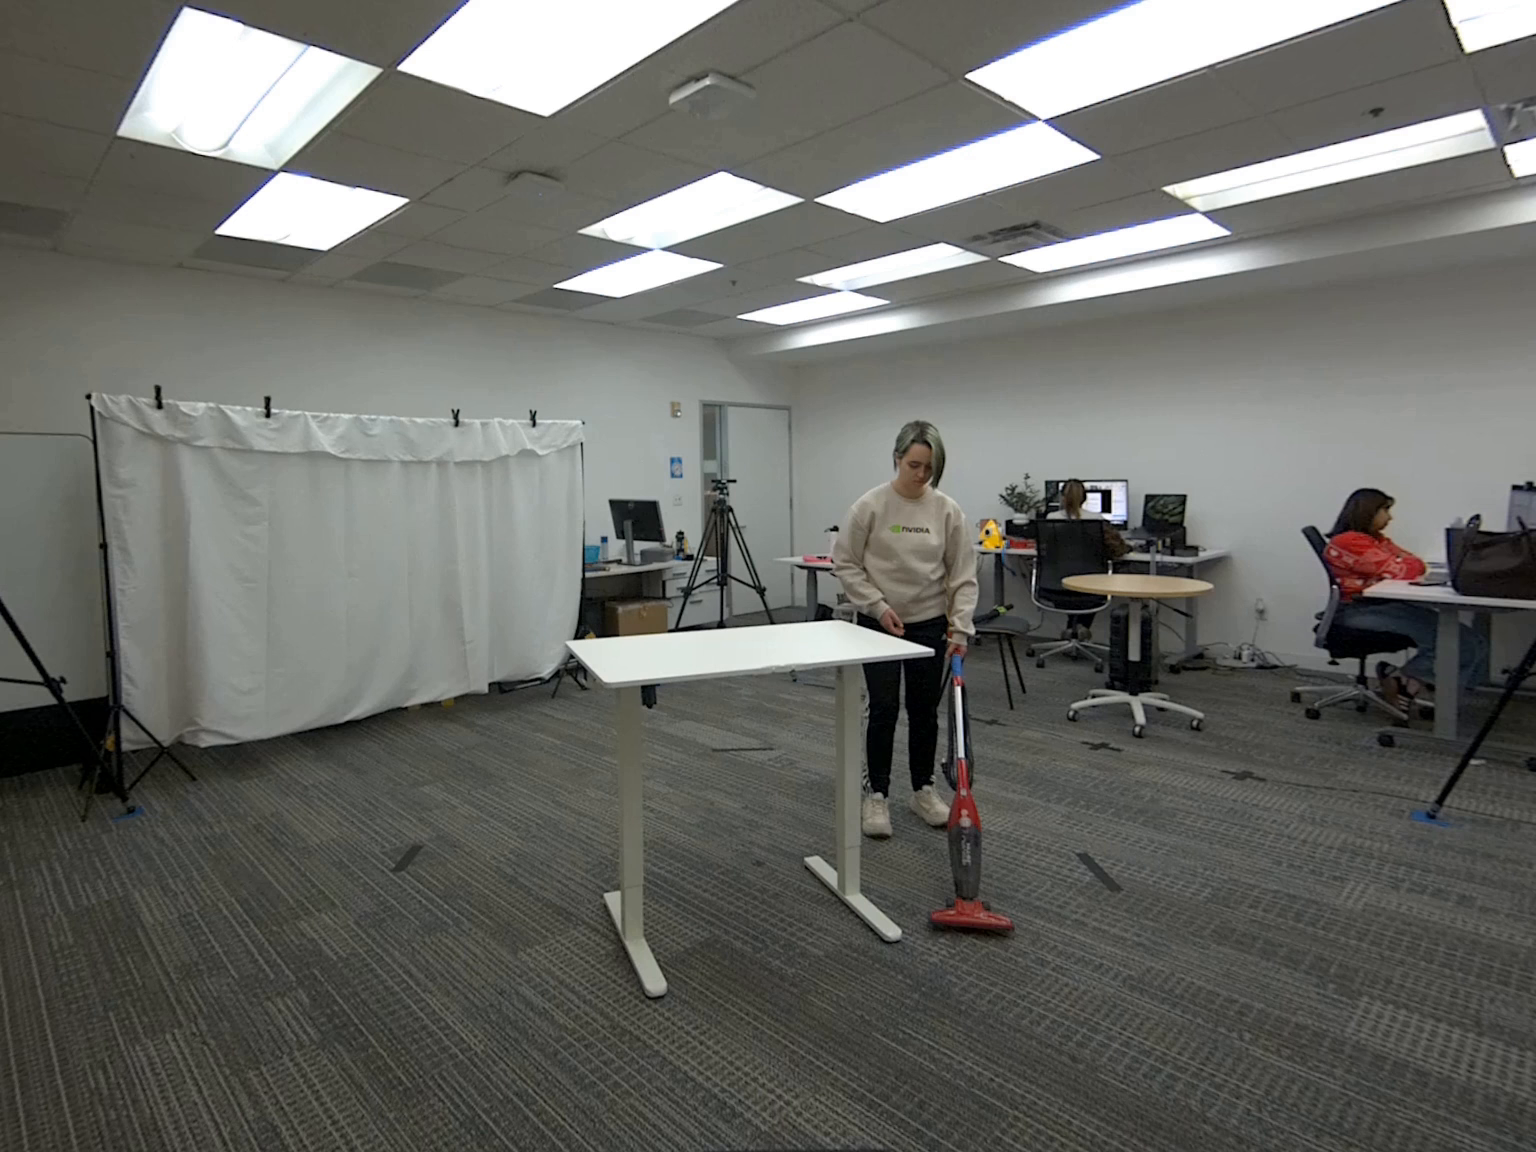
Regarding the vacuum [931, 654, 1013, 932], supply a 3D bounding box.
[{"bbox_3d":[0.677,0.676,3.006,0.254,1.074,0.140,2,-42,5],"label":"vacuum"}]
